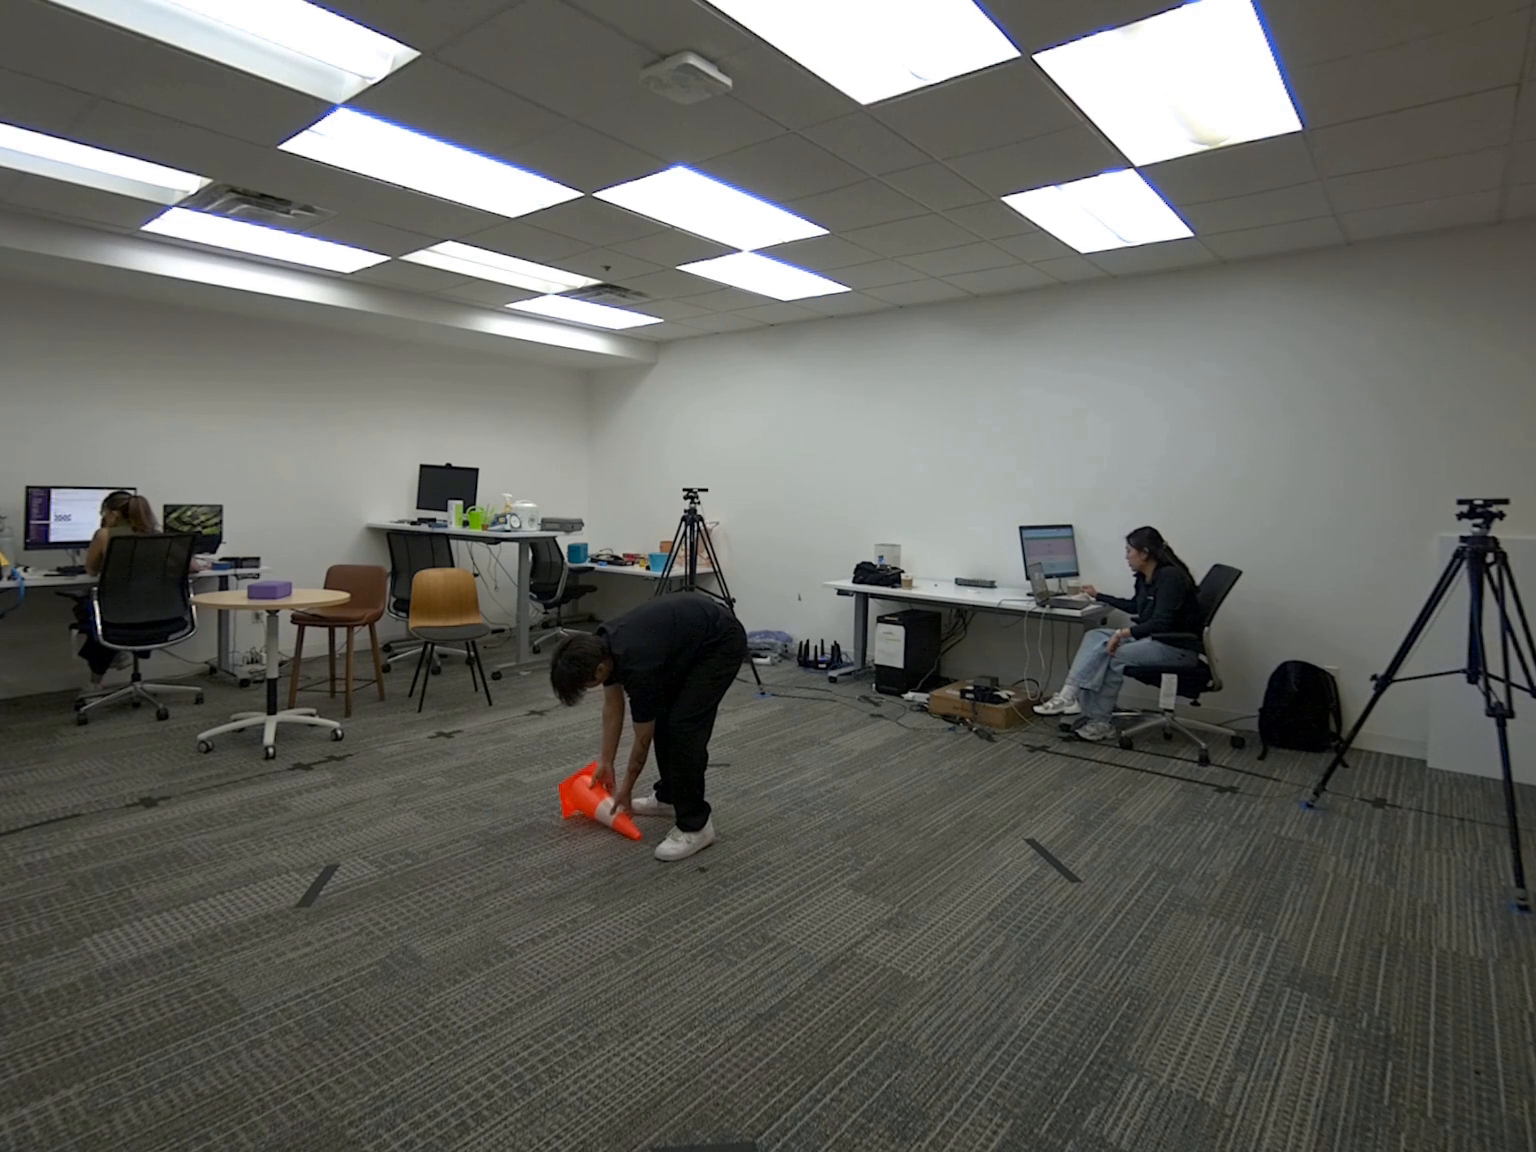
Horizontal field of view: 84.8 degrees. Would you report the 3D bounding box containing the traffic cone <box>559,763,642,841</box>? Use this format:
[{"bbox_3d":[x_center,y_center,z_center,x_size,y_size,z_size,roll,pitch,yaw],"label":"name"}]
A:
[{"bbox_3d":[-0.666,0.967,3.468,0.399,0.198,0.202,24,41,38],"label":"traffic cone"}]
